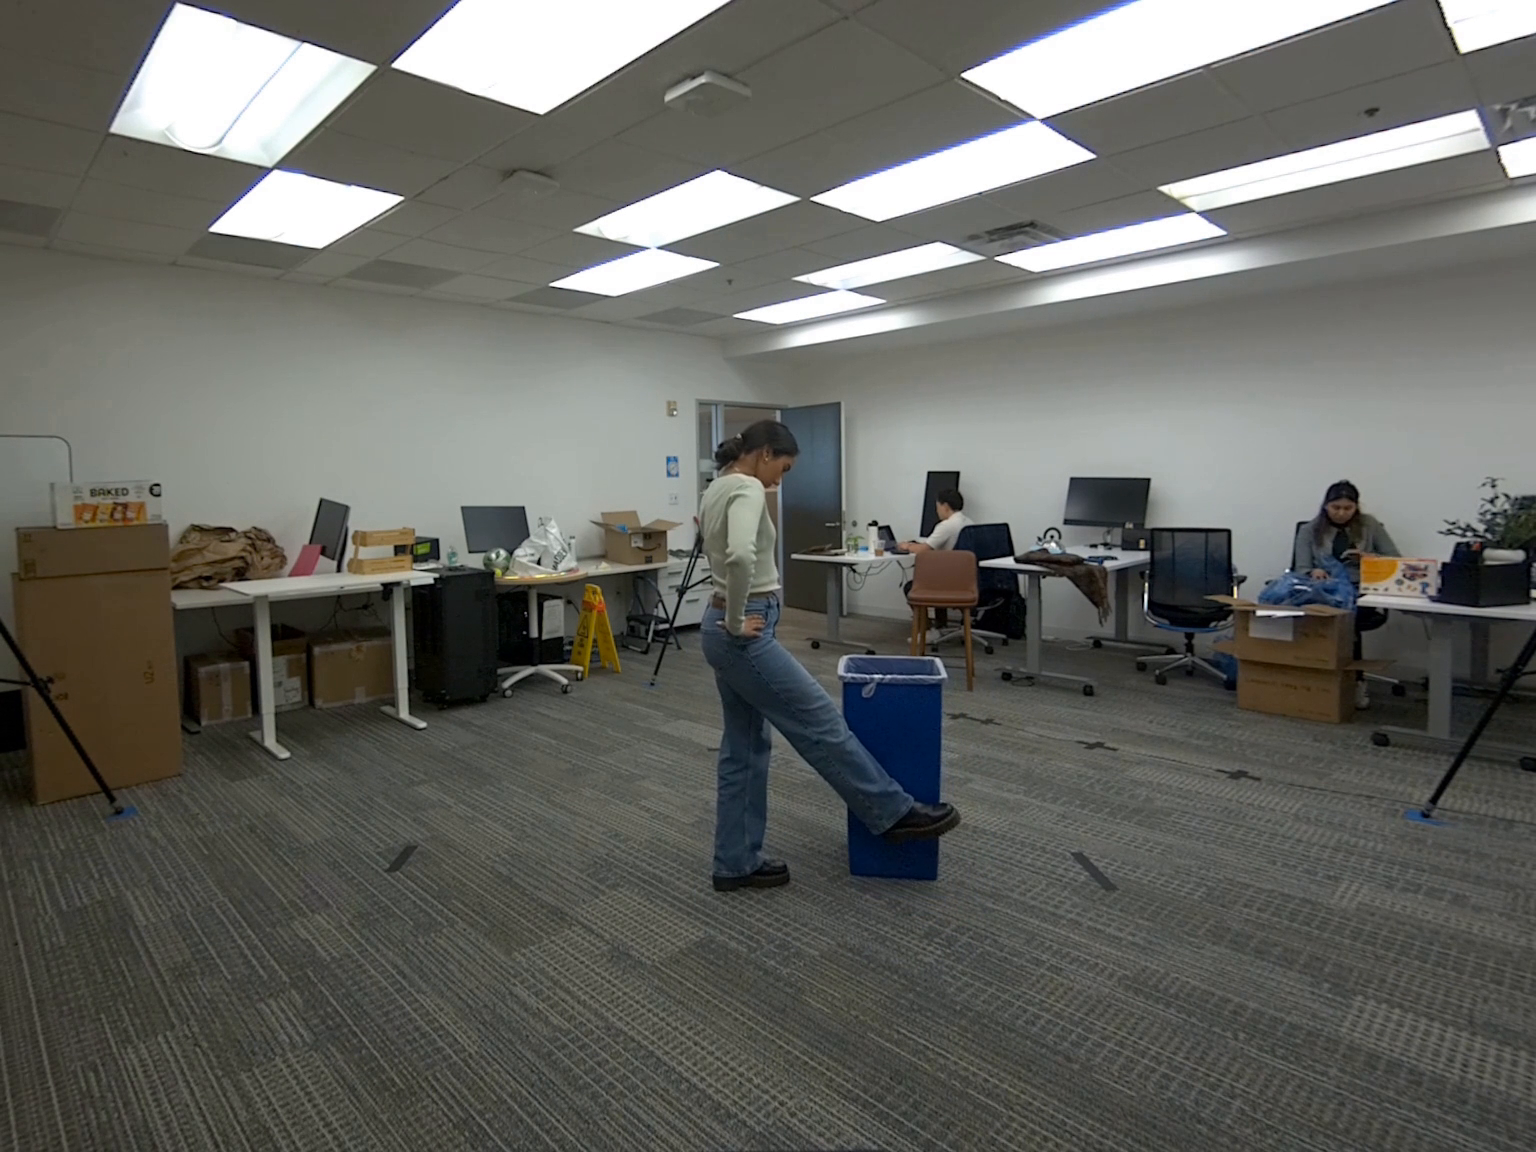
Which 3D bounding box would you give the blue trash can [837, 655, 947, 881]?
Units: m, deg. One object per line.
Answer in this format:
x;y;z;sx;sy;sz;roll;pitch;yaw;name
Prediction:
0.461;0.679;3.102;0.377;0.712;0.376;-1;3;9;blue trash can
